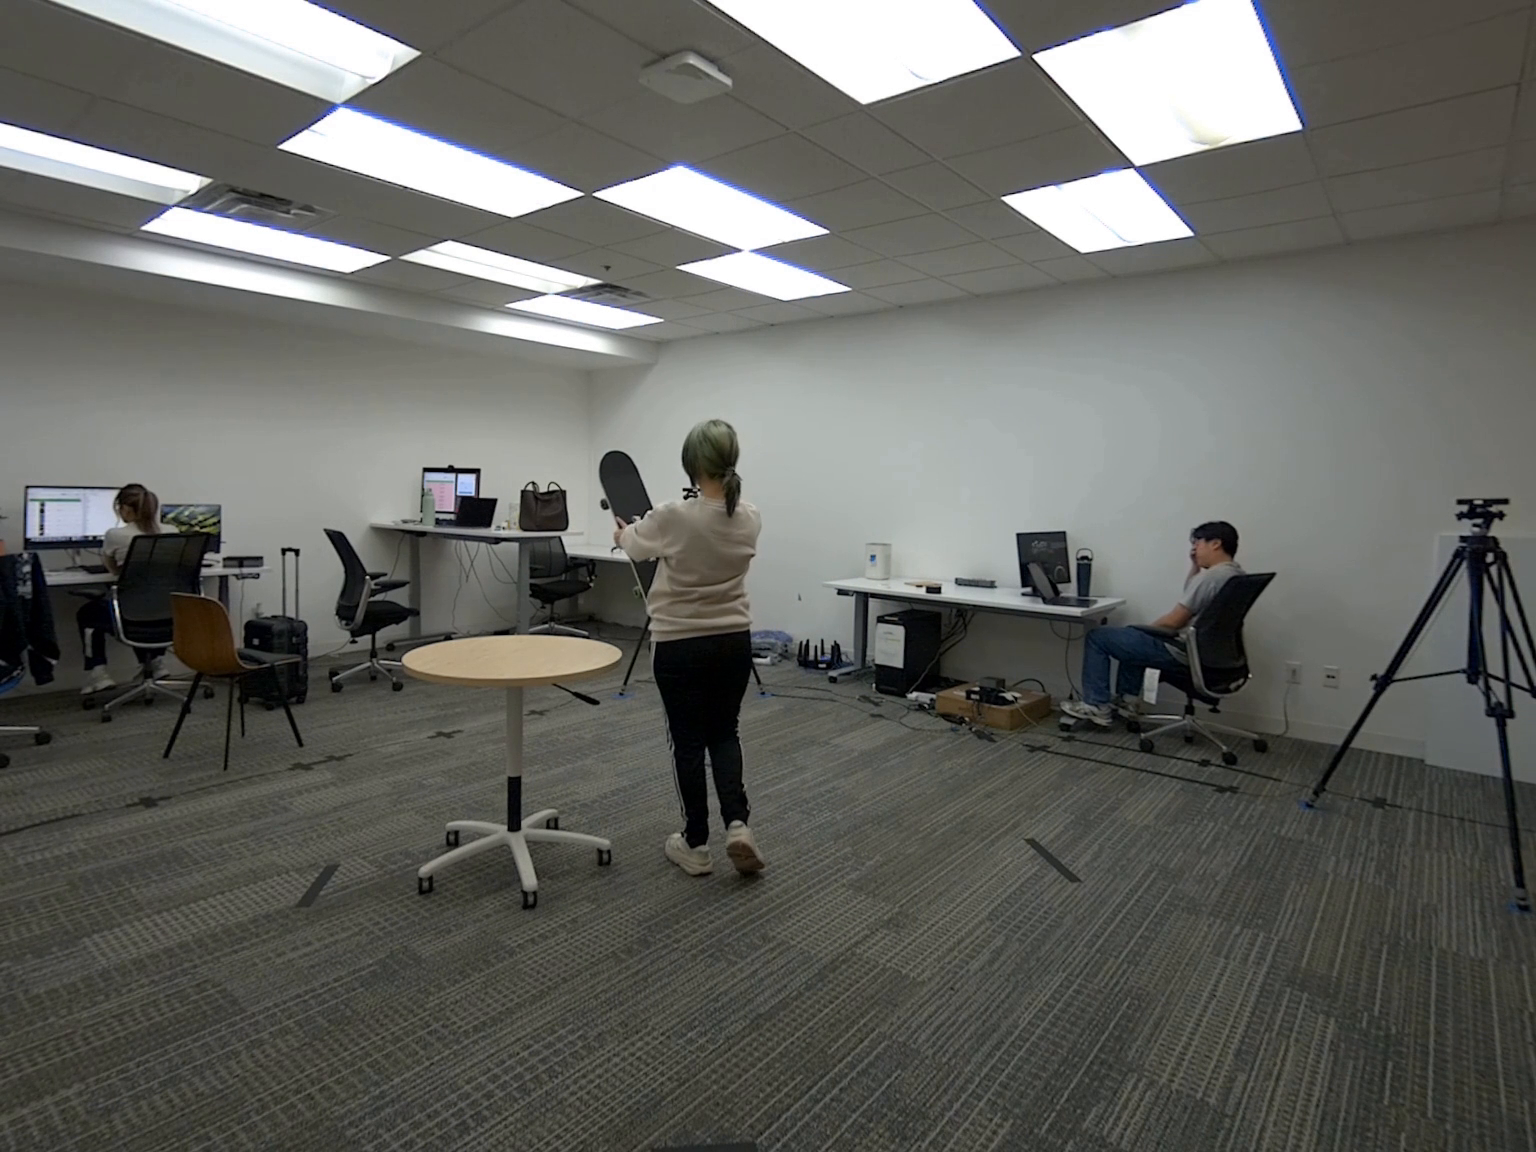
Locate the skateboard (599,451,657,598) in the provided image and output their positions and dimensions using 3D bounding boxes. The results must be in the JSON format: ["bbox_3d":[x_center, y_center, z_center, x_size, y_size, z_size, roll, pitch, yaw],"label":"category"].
[{"bbox_3d":[-0.535,-0.146,3.525,0.189,0.796,0.111,-13,-12,-37],"label":"skateboard"}]
